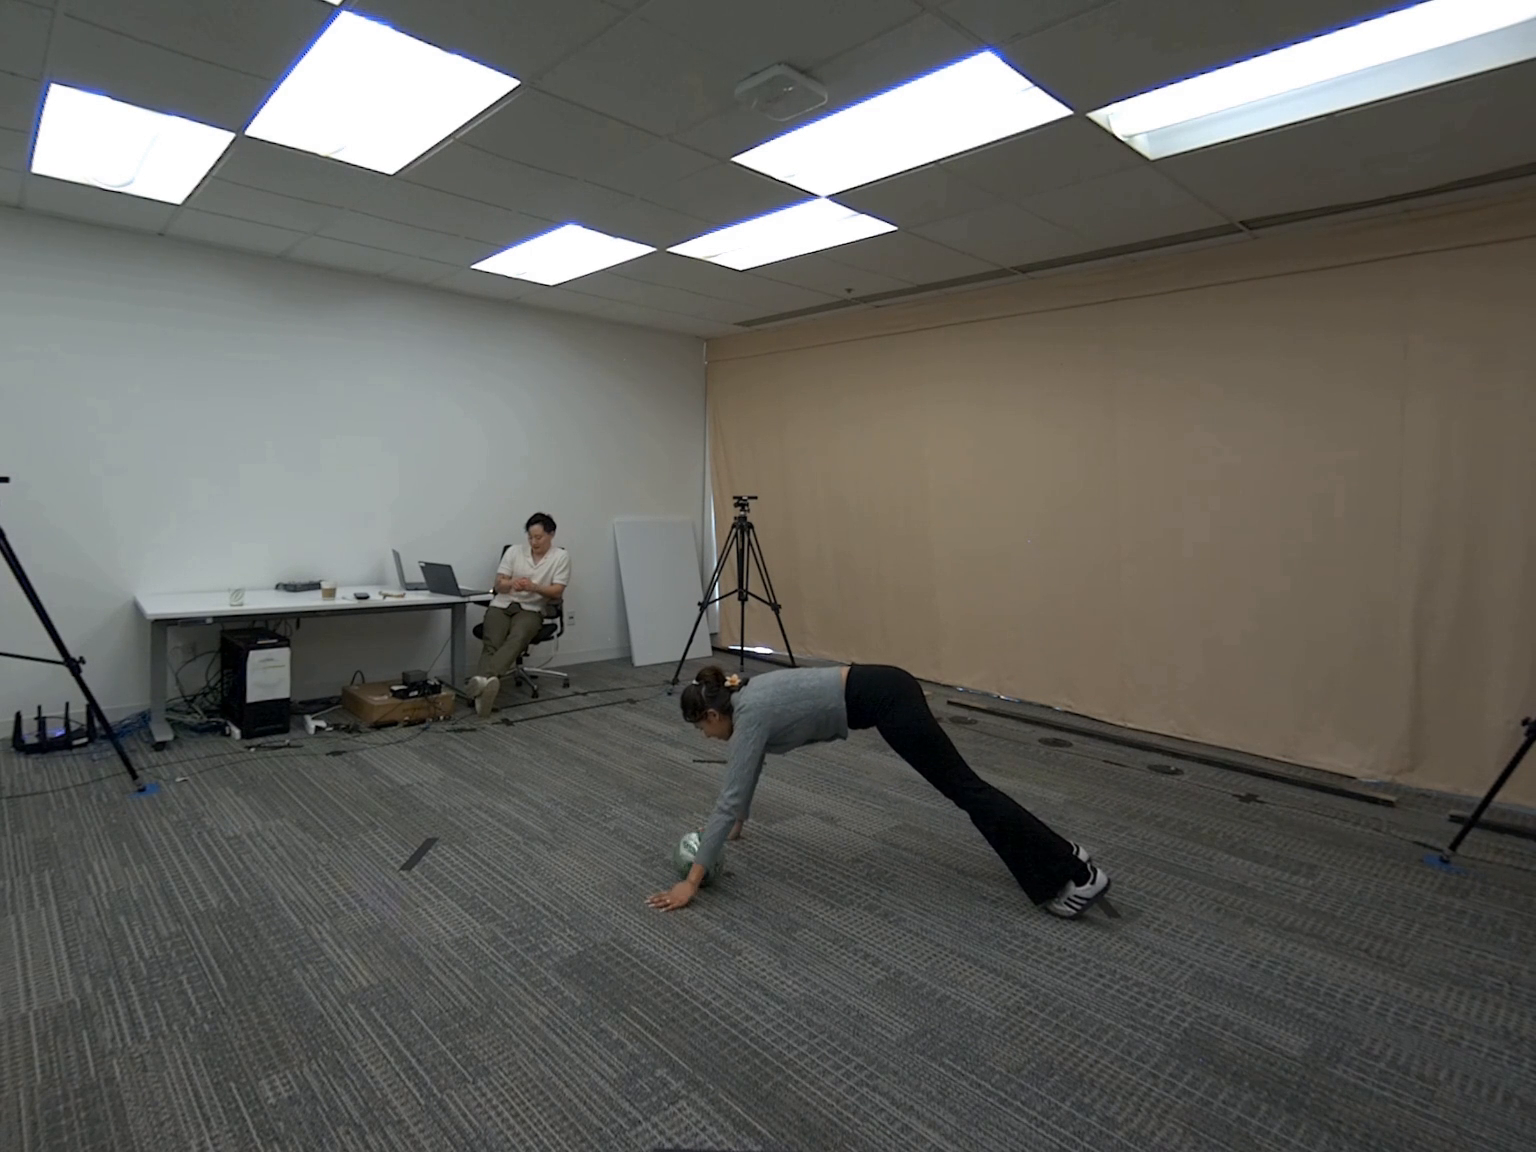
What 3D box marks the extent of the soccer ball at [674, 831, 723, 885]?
[{"bbox_3d":[-0.255,1.011,3.027,0.187,0.187,0.188,1,4,-1],"label":"soccer ball"}]
